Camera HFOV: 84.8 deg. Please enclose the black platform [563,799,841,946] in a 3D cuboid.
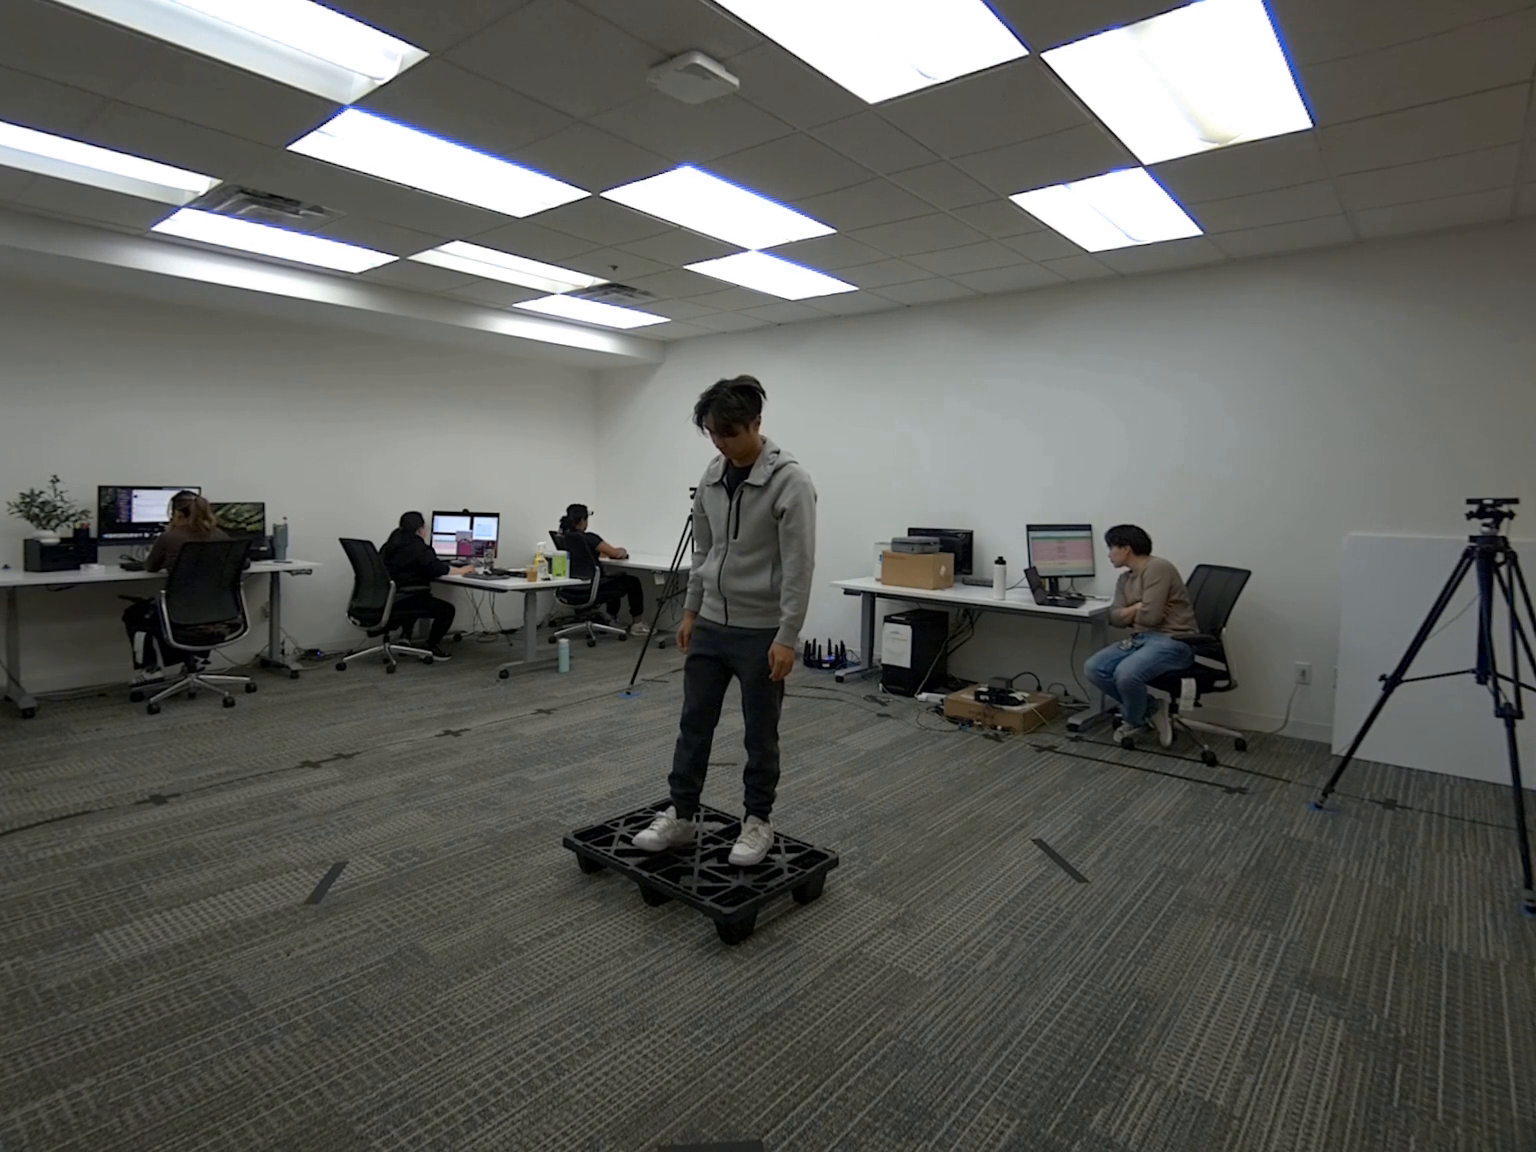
[{"bbox_3d":[-0.255,1.007,2.999,0.833,0.143,0.587,6,7,40],"label":"black platform"}]
